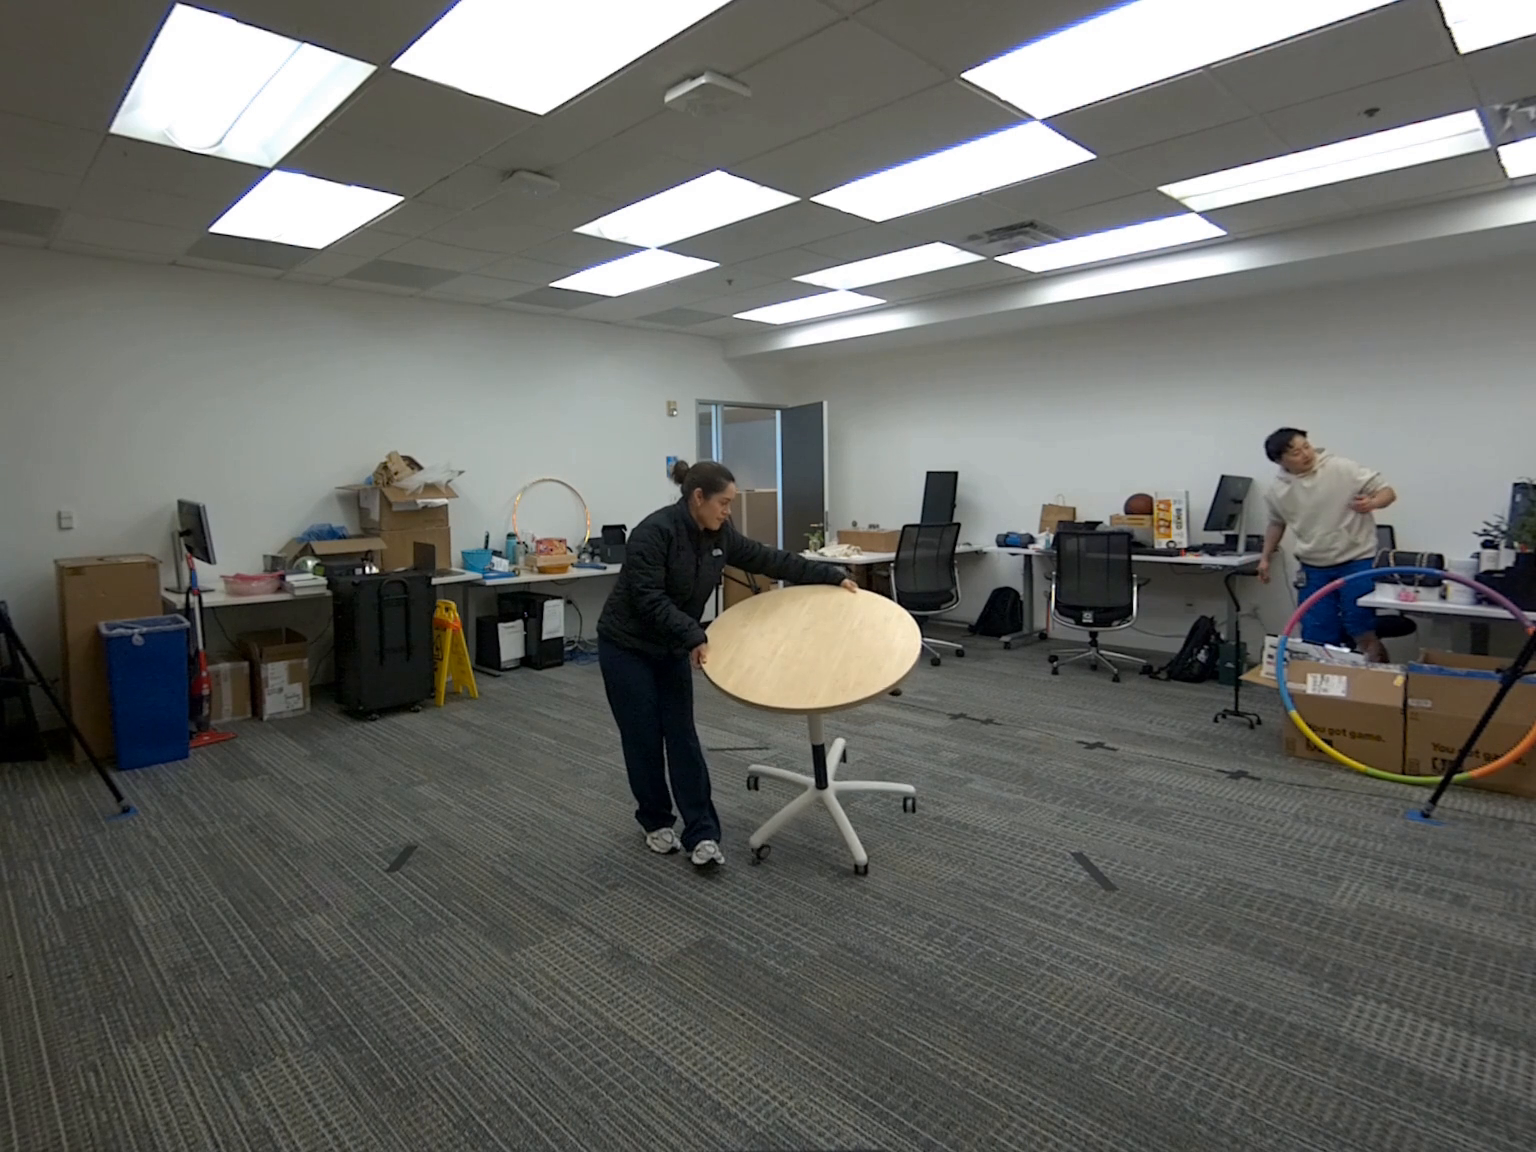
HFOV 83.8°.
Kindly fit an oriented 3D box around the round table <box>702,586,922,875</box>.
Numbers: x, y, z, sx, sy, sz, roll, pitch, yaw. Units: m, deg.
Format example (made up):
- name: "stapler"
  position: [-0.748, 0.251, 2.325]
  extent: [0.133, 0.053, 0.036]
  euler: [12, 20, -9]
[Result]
- name: "round table"
  position: [0.191, 0.567, 3.142]
  extent: [0.787, 0.768, 0.802]
  euler: [-7, 26, 1]
